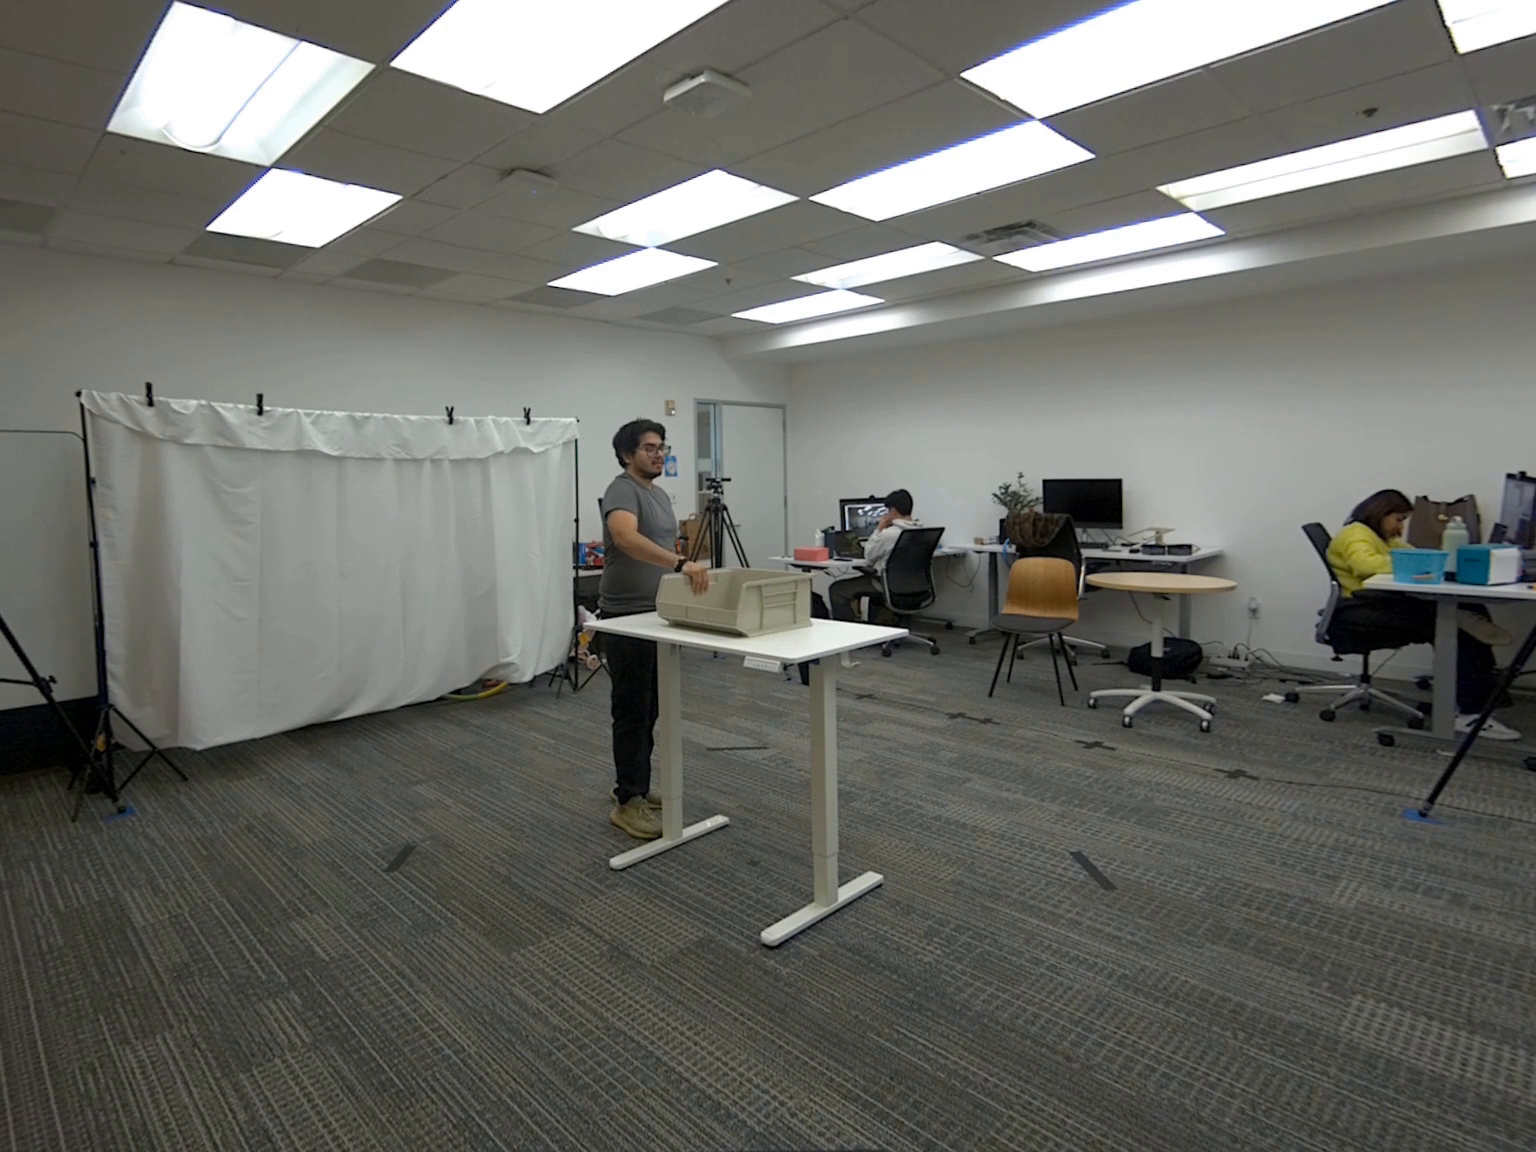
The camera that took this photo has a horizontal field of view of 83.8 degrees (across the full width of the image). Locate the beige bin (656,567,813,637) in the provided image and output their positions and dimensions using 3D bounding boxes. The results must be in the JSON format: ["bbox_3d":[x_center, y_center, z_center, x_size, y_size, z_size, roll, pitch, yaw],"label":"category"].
[{"bbox_3d":[-0.113,0.084,2.976,0.367,0.188,0.435,-4,5,-44],"label":"beige bin"}]
